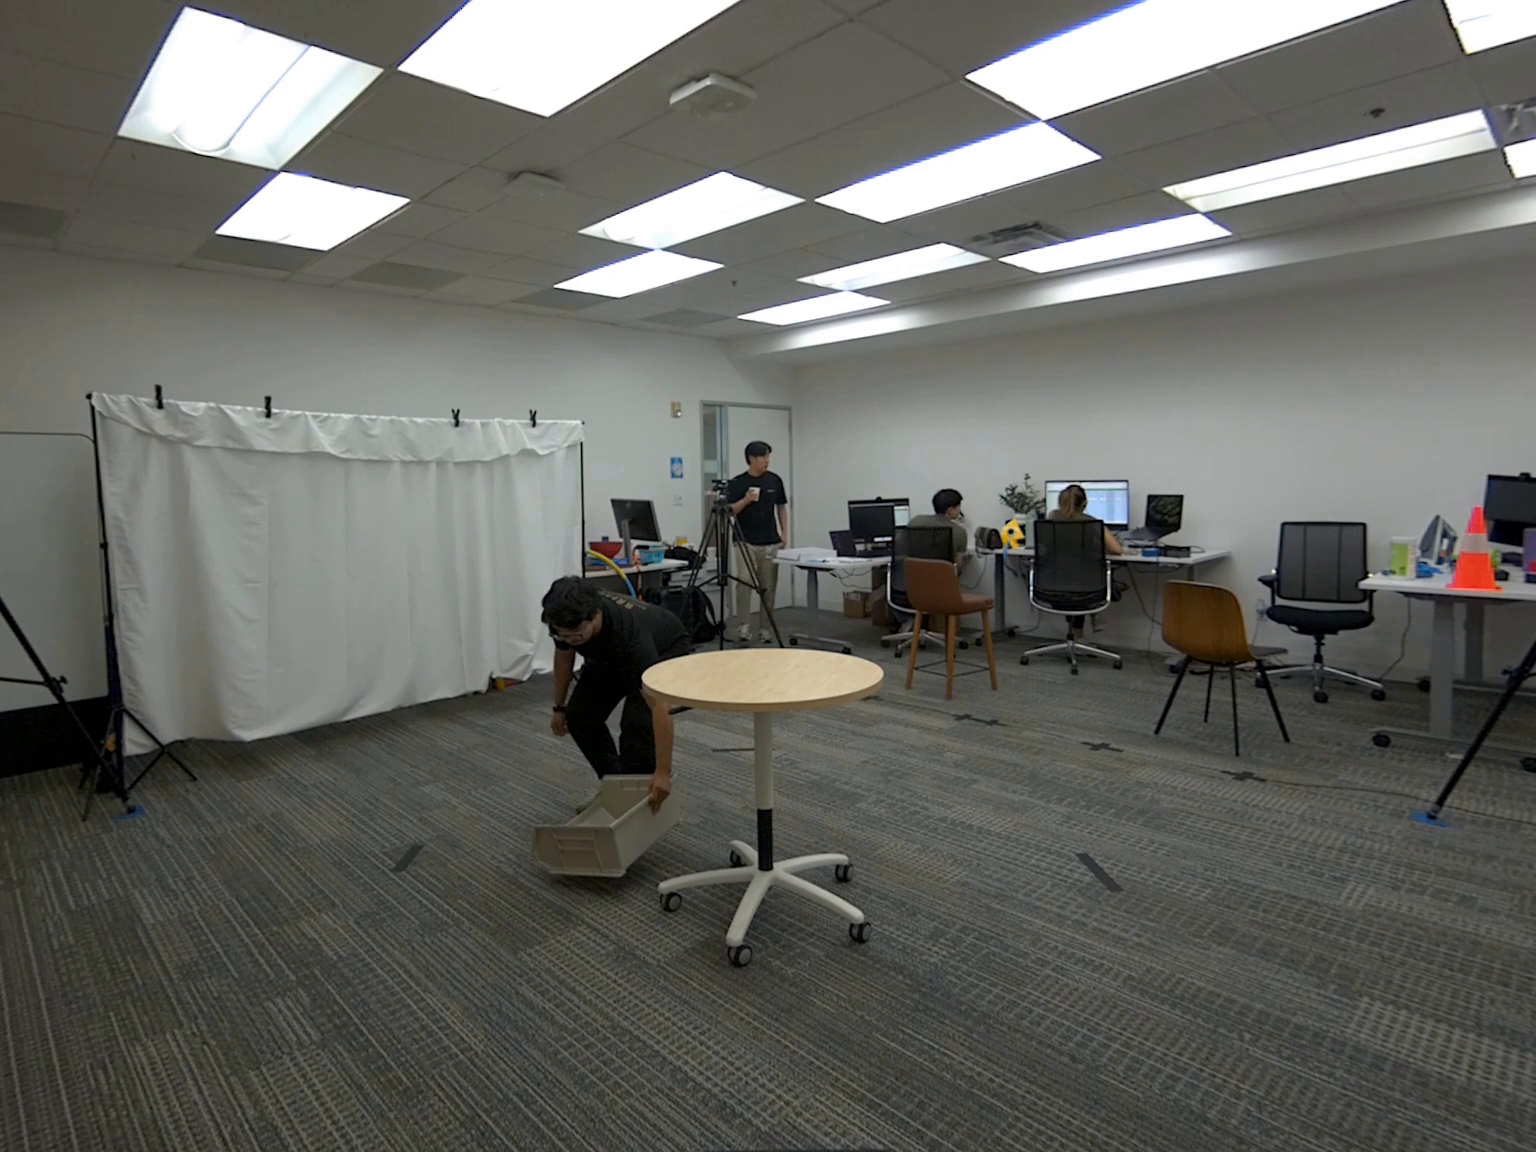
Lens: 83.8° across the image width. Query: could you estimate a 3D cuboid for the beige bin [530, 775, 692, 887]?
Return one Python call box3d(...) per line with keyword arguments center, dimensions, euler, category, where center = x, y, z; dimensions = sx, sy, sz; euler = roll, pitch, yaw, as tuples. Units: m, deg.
box3d(center=(-0.554, 0.901, 3.072), dimensions=(0.384, 0.187, 0.418), euler=(-9, 10, 24), category="beige bin")
